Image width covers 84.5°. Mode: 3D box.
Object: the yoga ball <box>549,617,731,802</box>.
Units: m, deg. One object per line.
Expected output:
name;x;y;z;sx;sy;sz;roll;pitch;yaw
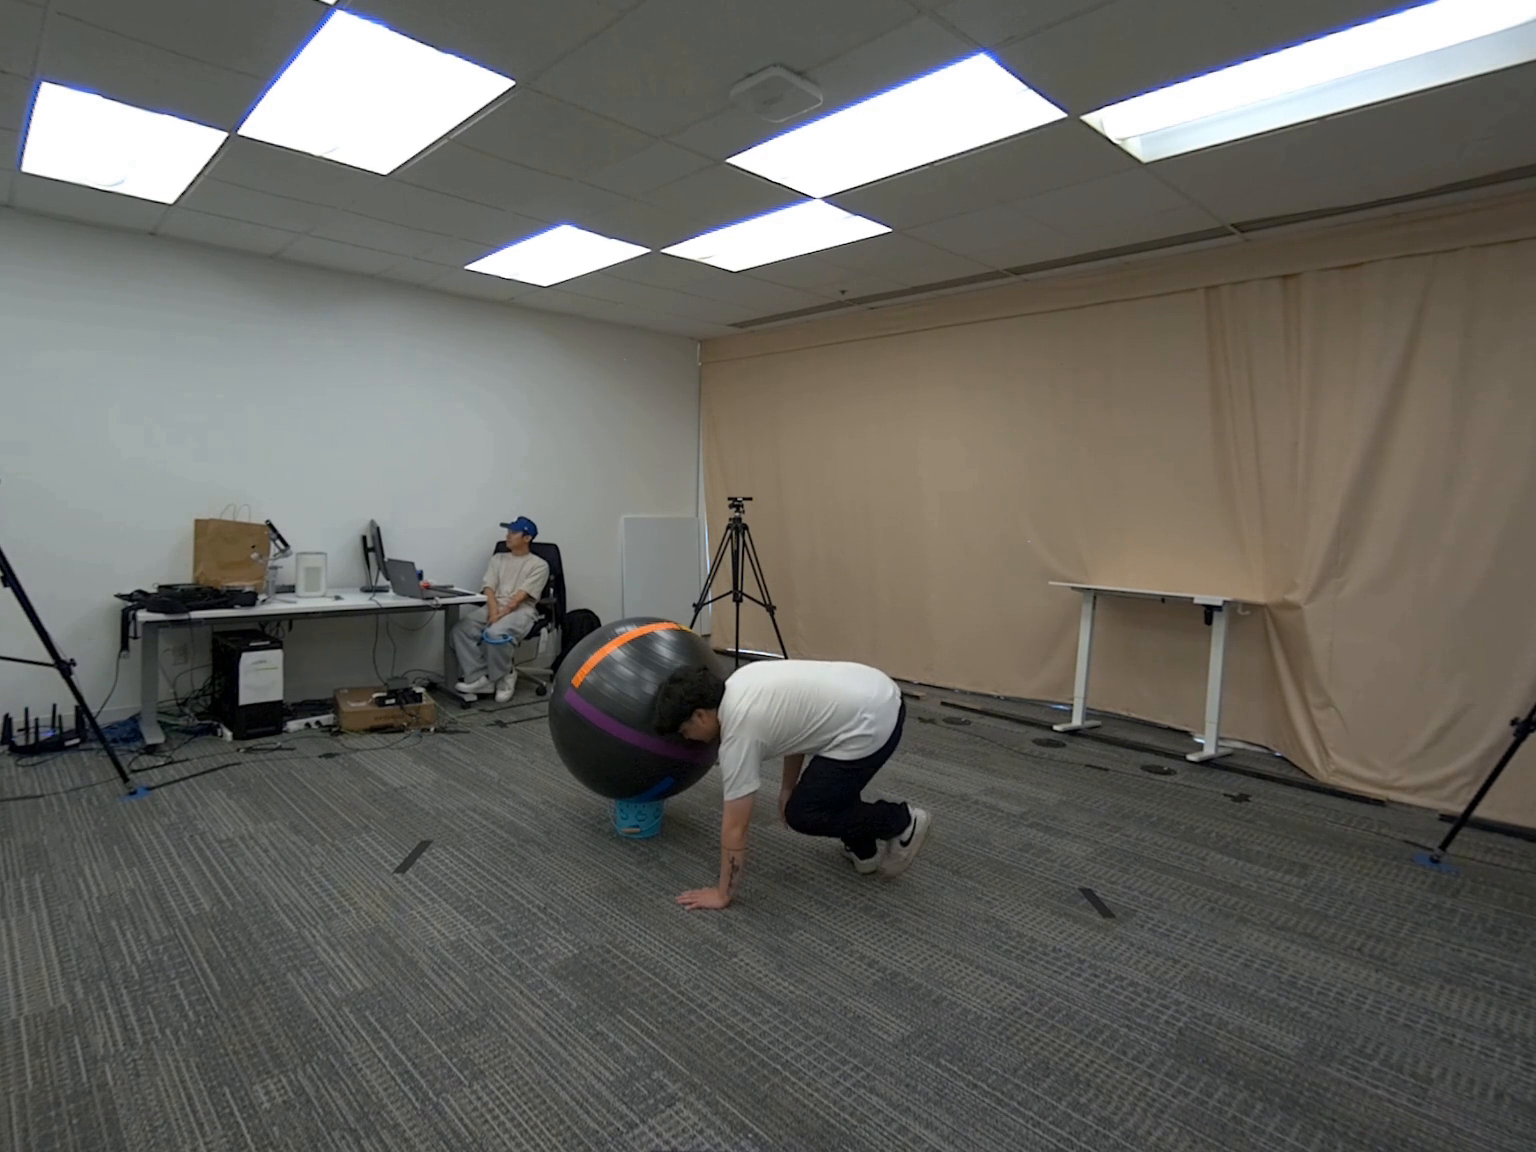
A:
yoga ball;-0.537;0.555;3.515;0.757;0.756;0.761;1;4;-1
